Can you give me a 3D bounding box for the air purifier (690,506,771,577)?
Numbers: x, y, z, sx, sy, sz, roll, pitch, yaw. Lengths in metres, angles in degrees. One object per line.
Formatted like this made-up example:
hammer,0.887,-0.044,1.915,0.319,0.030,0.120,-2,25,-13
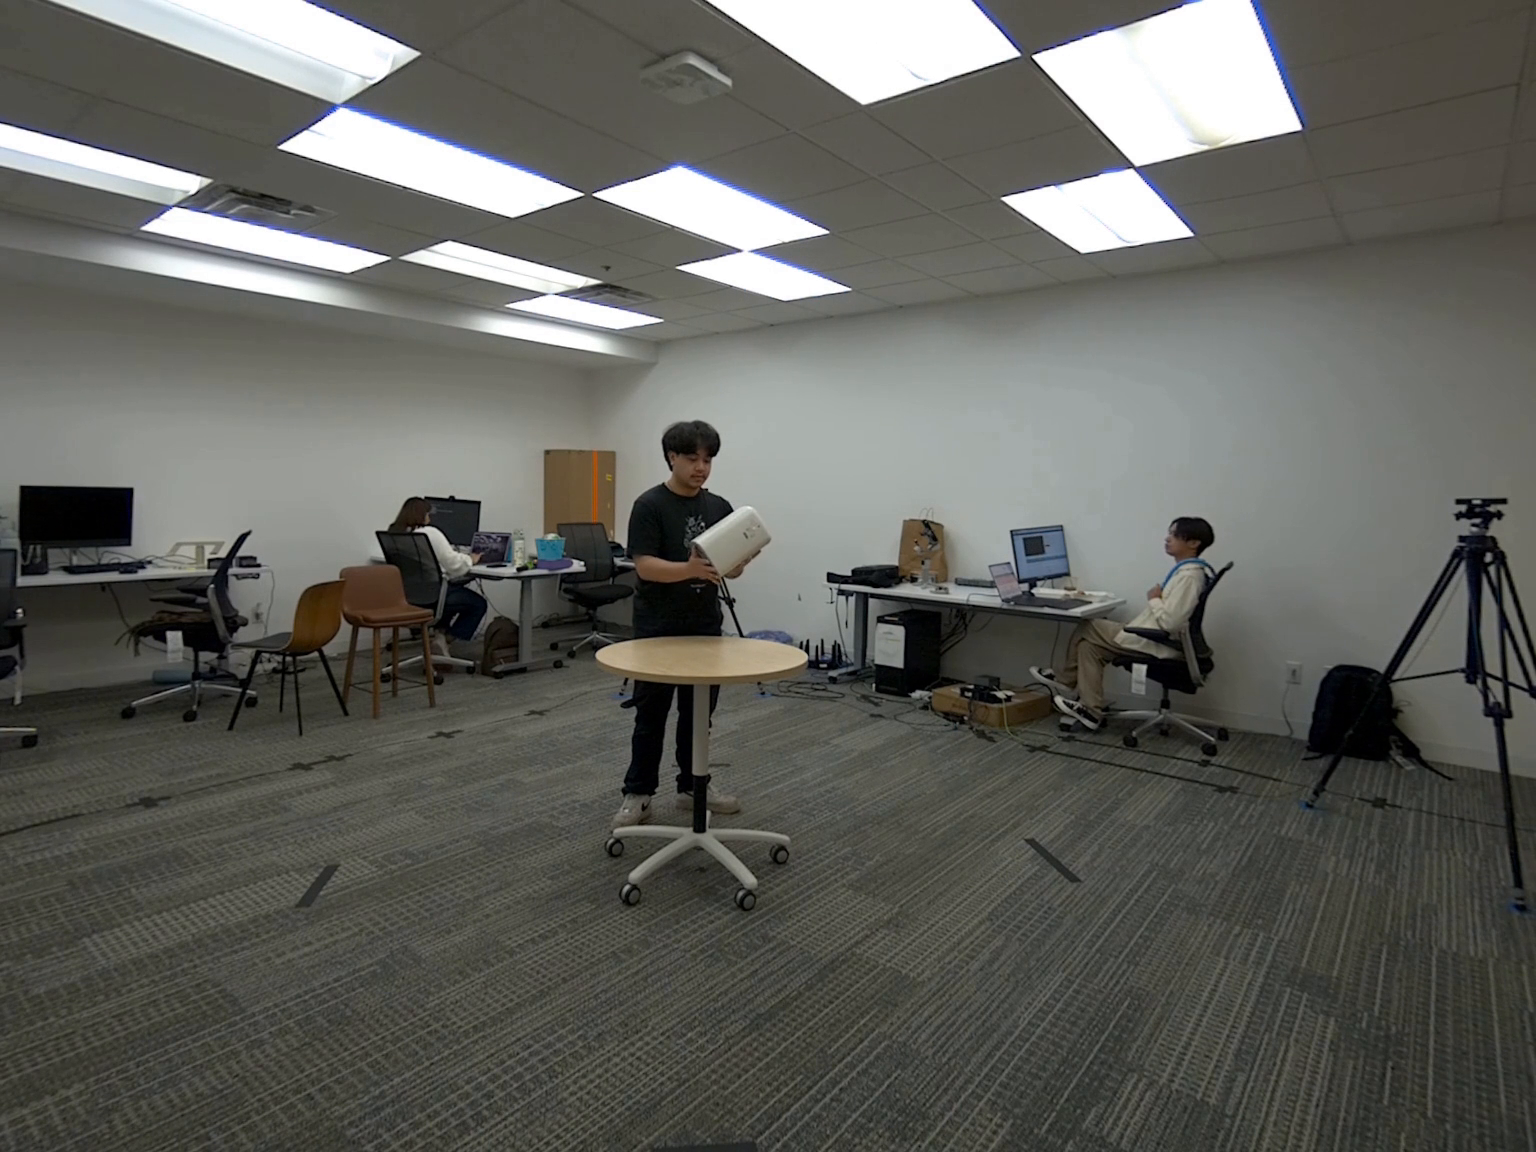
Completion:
air purifier,-0.153,-0.139,3.250,0.264,0.169,0.175,-36,11,-14
